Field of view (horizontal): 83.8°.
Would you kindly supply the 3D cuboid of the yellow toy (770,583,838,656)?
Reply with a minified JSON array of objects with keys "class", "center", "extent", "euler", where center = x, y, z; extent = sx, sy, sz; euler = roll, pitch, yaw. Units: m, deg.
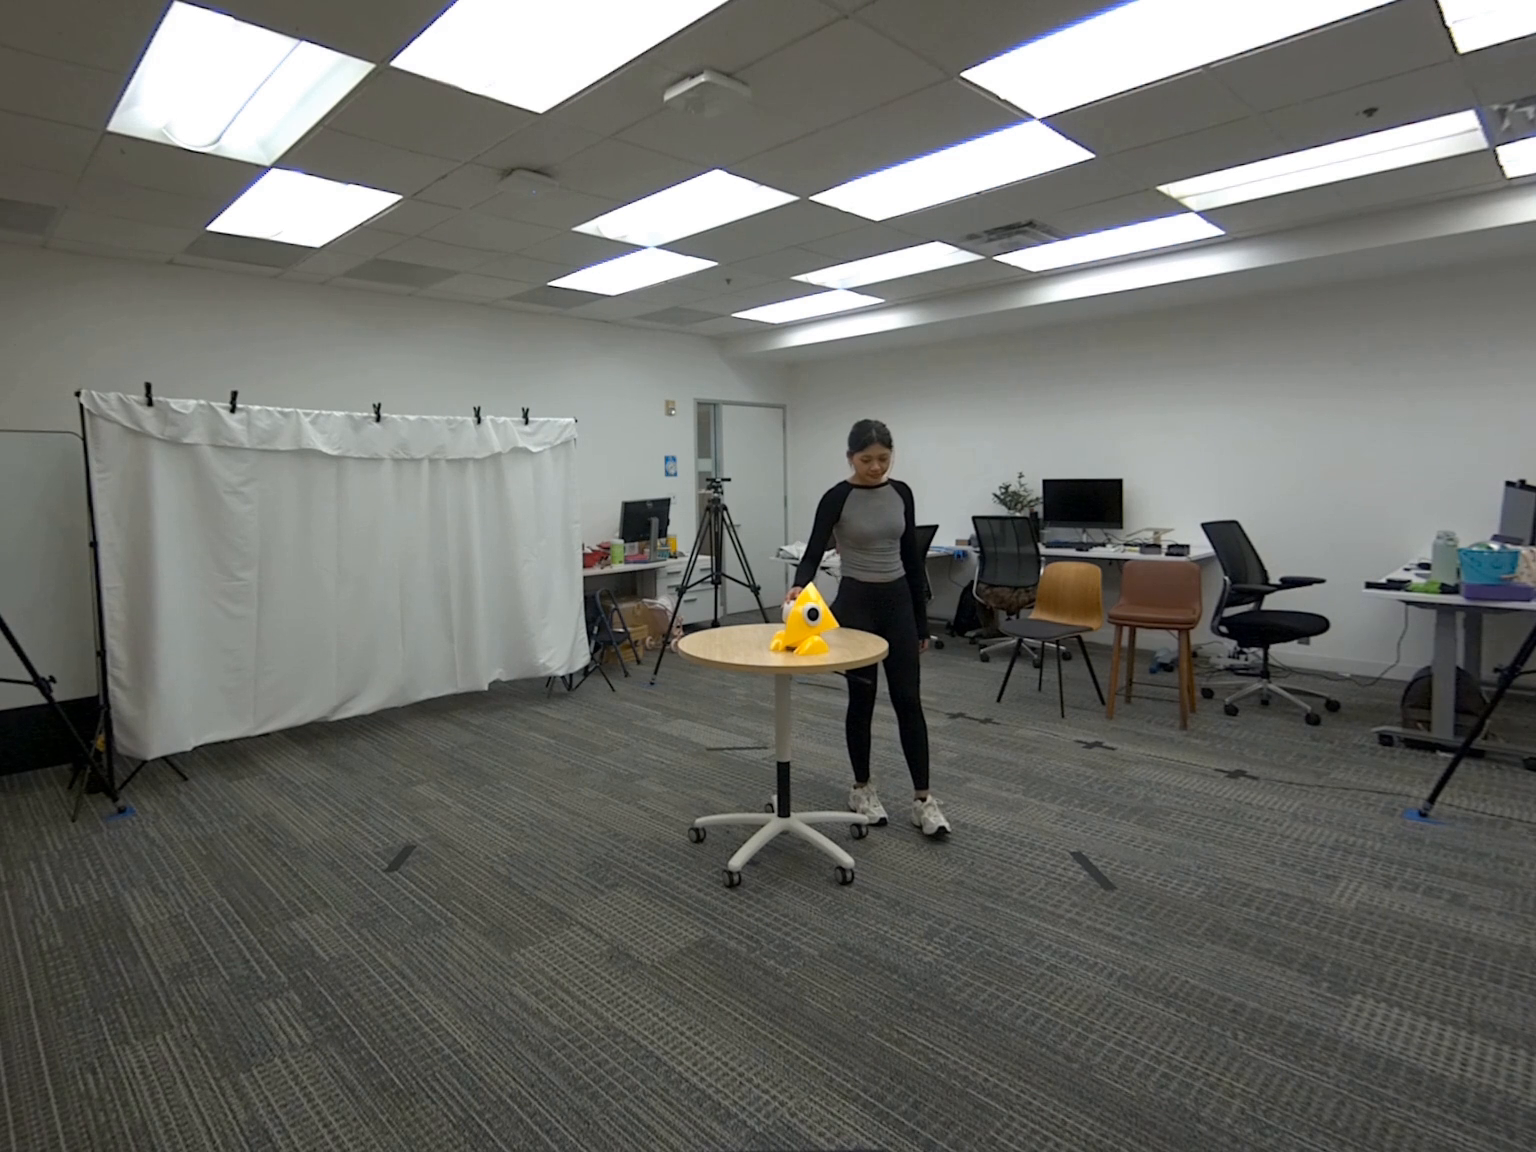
[{"class":"yellow toy","center":[0.119,0.145,3.007],"extent":[0.211,0.230,0.188],"euler":[4,7,42]}]
